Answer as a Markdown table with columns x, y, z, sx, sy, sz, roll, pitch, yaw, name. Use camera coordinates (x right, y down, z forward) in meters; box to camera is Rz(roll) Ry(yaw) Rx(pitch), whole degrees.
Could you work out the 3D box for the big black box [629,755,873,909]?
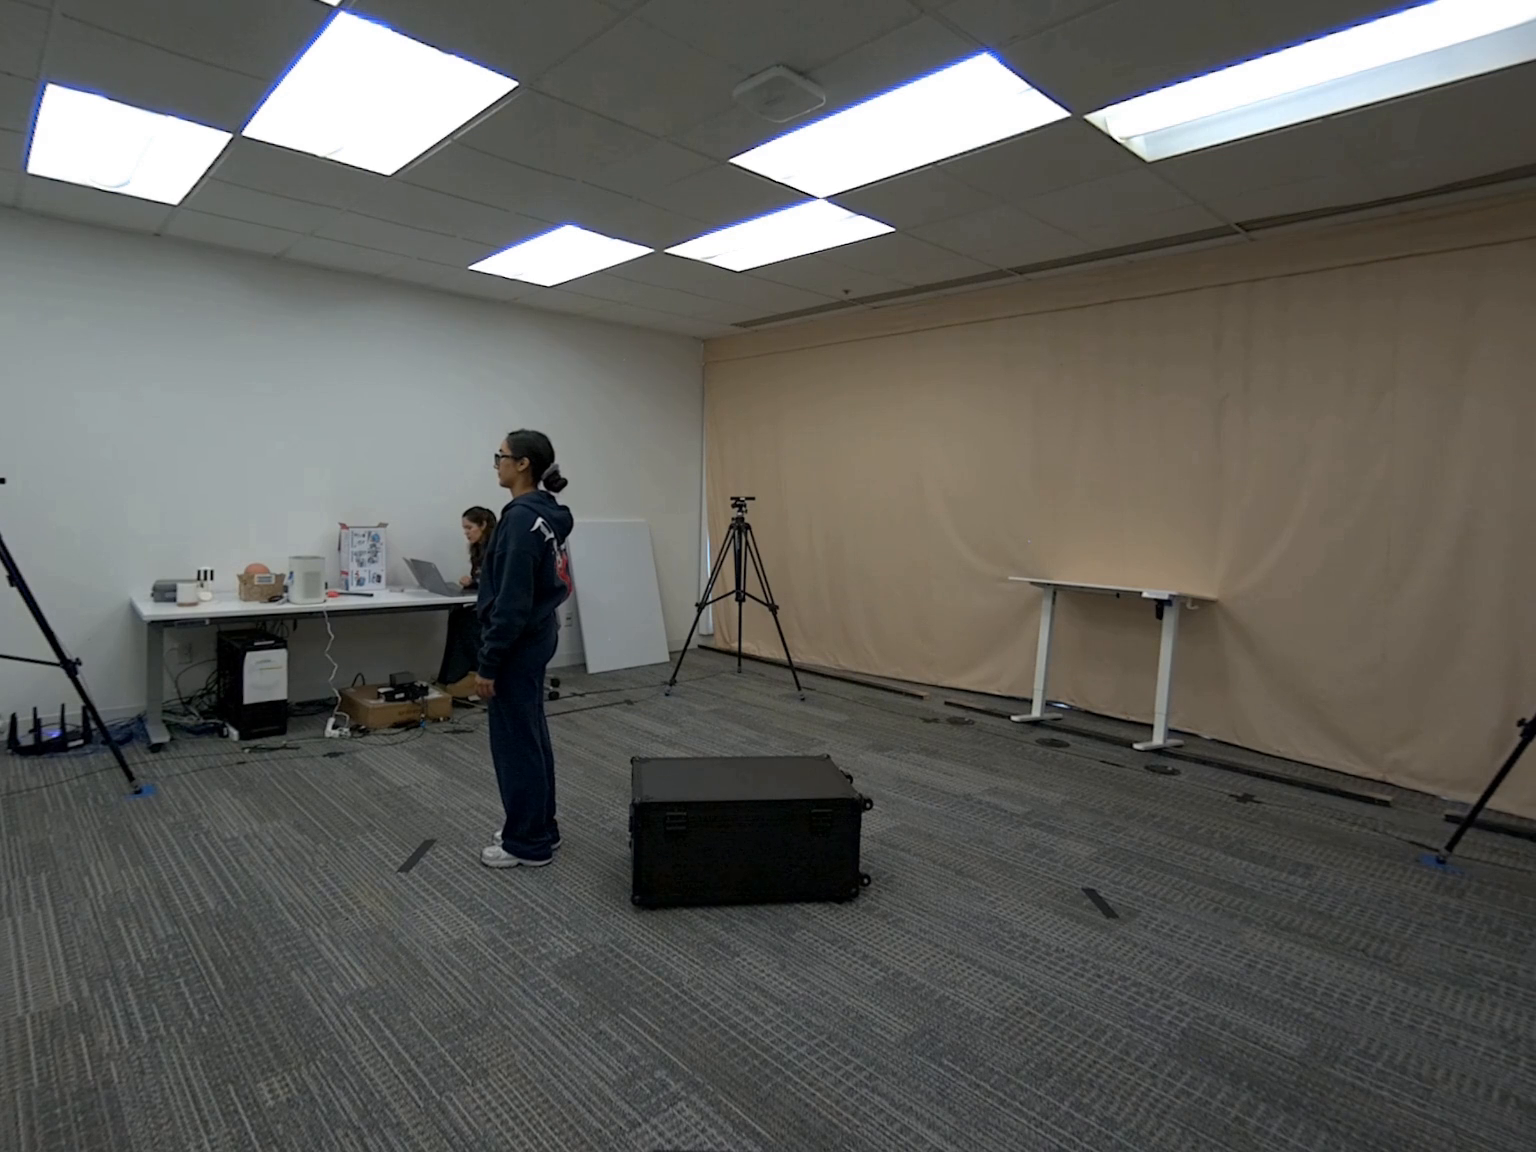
| x | y | z | sx | sy | sz | roll | pitch | yaw | name |
| --- | --- | --- | --- | --- | --- | --- | --- | --- | --- |
| -0.078 | 0.917 | 3.090 | 0.855 | 0.395 | 0.527 | 0 | 4 | -10 | big black box |
